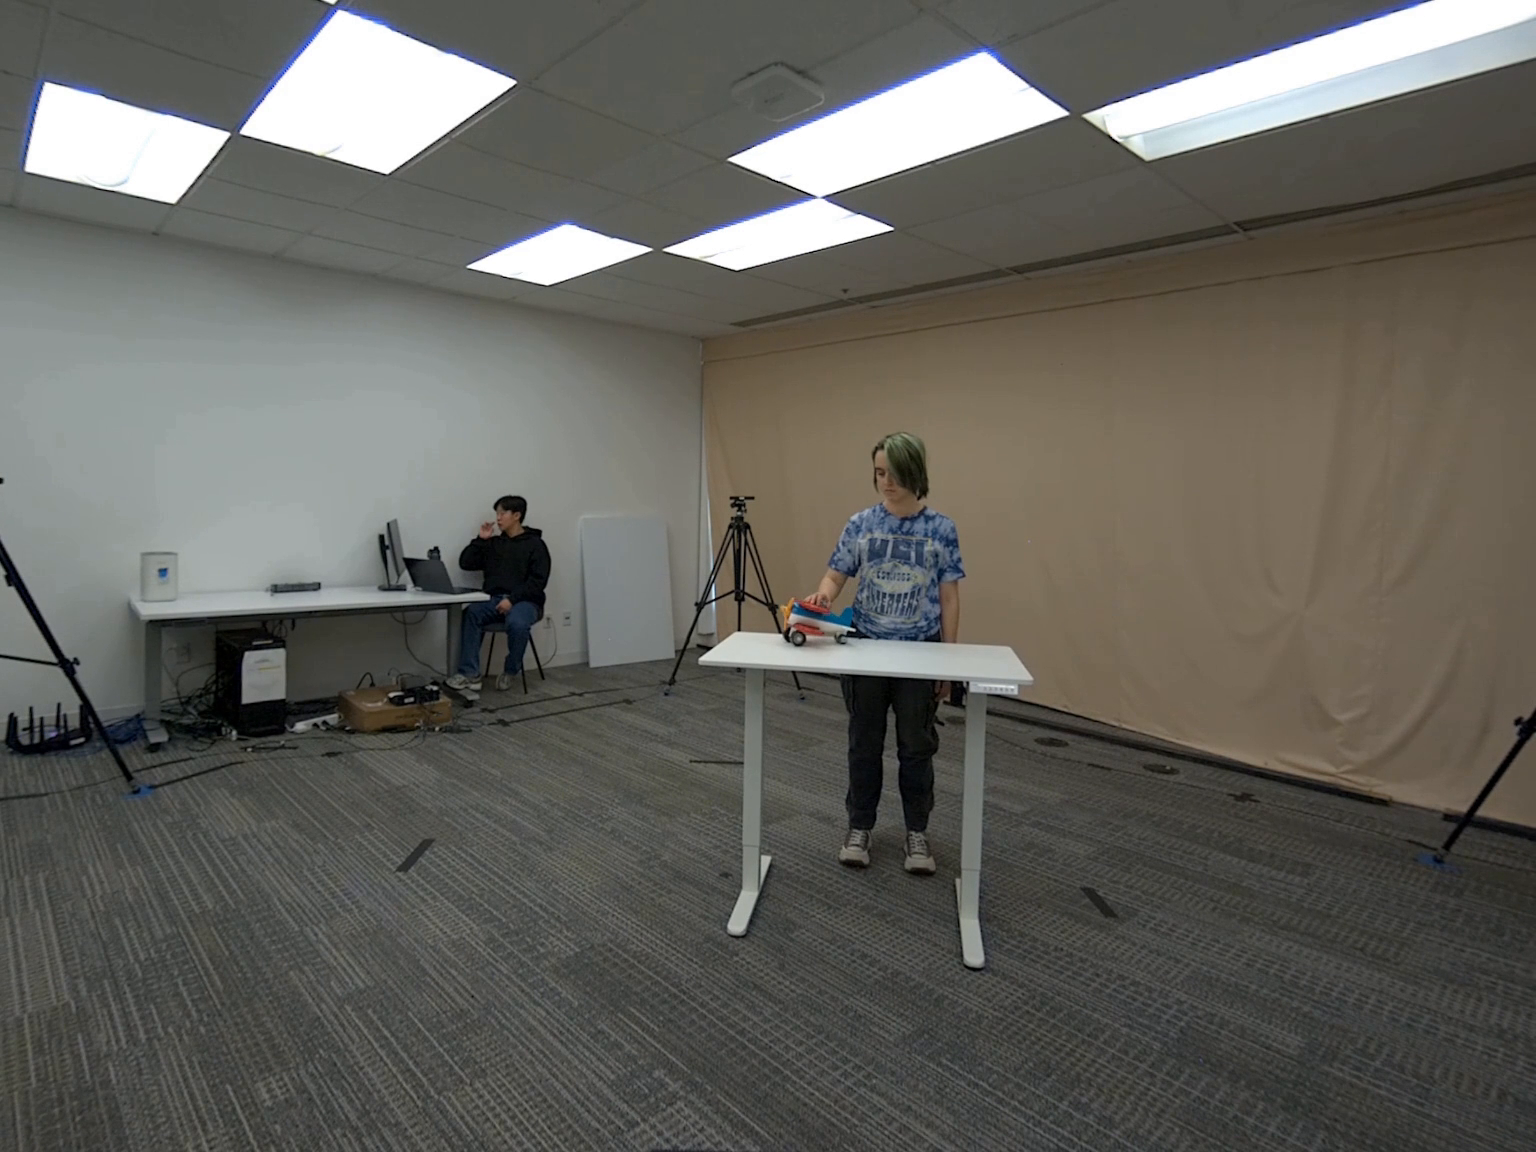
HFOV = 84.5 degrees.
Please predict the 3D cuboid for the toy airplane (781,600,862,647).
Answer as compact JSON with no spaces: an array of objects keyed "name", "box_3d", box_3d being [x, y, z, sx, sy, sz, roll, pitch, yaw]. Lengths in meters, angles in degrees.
[{"name":"toy airplane","box_3d":[0.162,0.165,3.004,0.253,0.156,0.257,-3,5,-42]}]
